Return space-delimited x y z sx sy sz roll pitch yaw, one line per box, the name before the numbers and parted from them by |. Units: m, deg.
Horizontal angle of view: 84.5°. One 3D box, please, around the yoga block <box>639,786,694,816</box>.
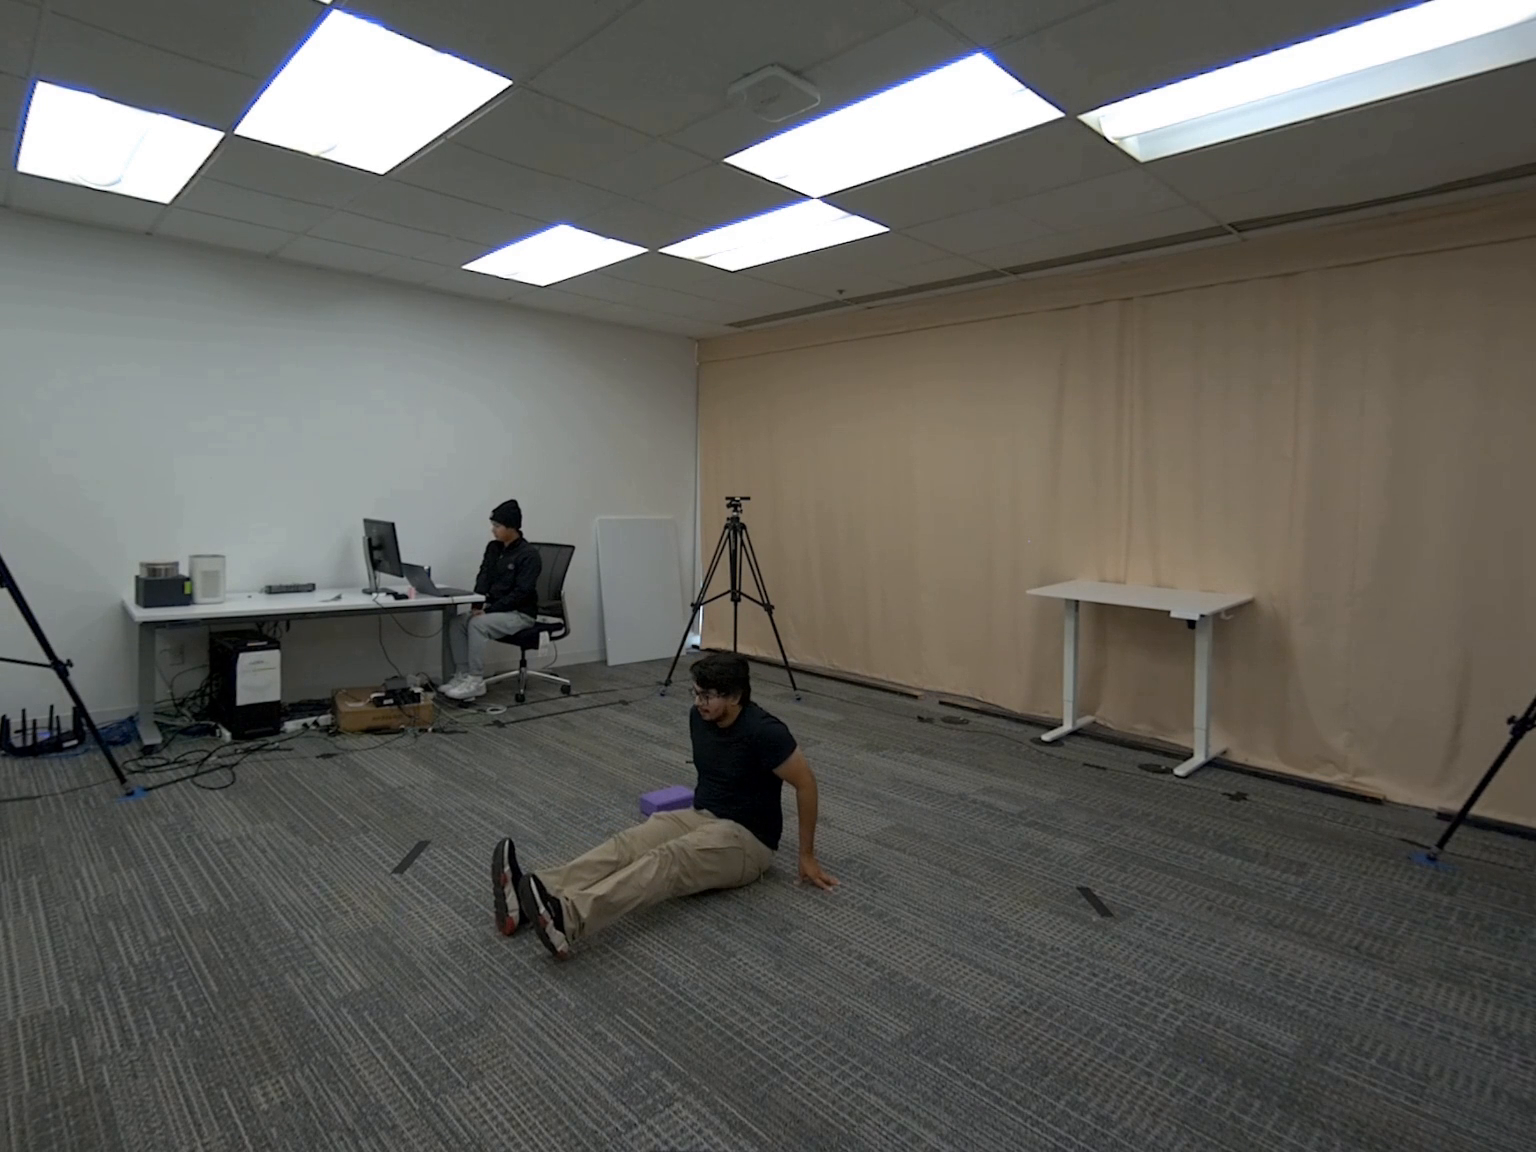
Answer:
yoga block | -0.449 1.004 3.738 0.224 0.076 0.153 -3 6 -41
